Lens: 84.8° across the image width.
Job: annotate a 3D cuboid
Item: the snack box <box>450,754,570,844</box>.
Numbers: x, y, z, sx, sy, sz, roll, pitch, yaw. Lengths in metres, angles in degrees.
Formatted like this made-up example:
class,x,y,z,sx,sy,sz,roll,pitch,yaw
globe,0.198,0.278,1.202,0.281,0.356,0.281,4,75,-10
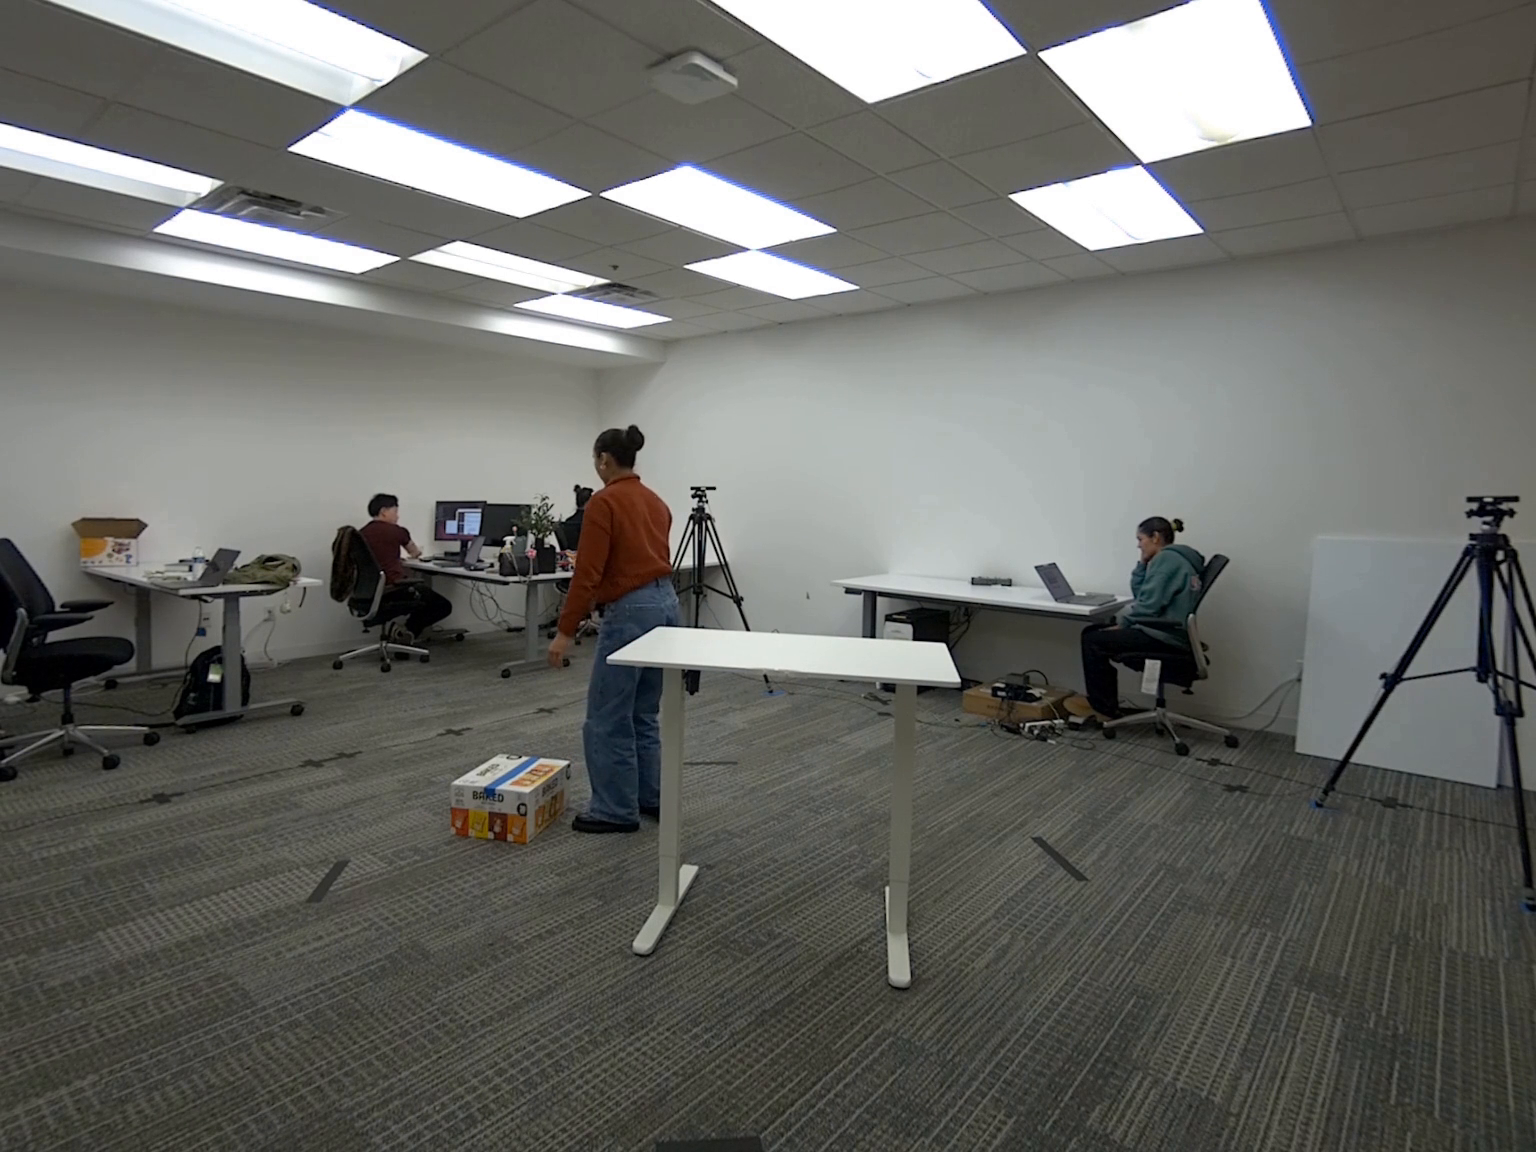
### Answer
class,x,y,z,sx,sy,sz,roll,pitch,yaw
snack box,-1.074,0.910,3.522,0.345,0.205,0.401,2,5,12
